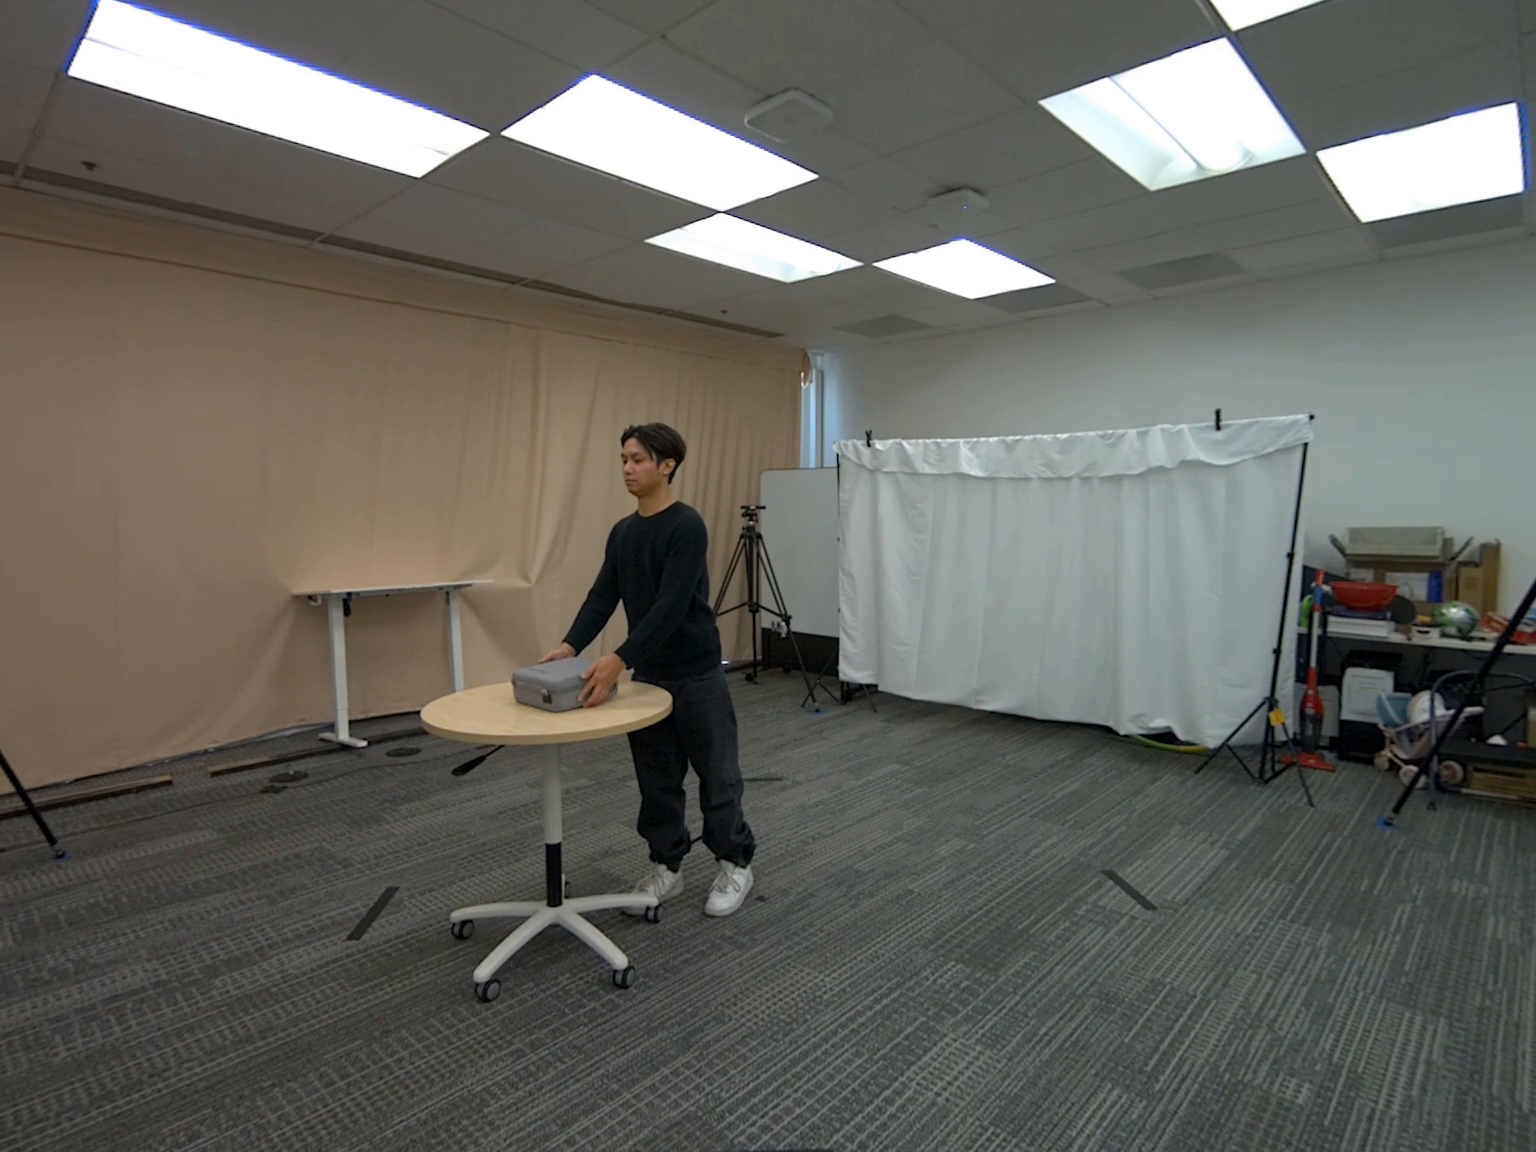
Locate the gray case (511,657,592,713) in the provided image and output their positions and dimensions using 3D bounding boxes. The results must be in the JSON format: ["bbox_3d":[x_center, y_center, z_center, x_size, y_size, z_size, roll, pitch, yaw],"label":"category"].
[{"bbox_3d":[-0.652,0.339,2.634,0.265,0.104,0.253,1,8,40],"label":"gray case"}]
